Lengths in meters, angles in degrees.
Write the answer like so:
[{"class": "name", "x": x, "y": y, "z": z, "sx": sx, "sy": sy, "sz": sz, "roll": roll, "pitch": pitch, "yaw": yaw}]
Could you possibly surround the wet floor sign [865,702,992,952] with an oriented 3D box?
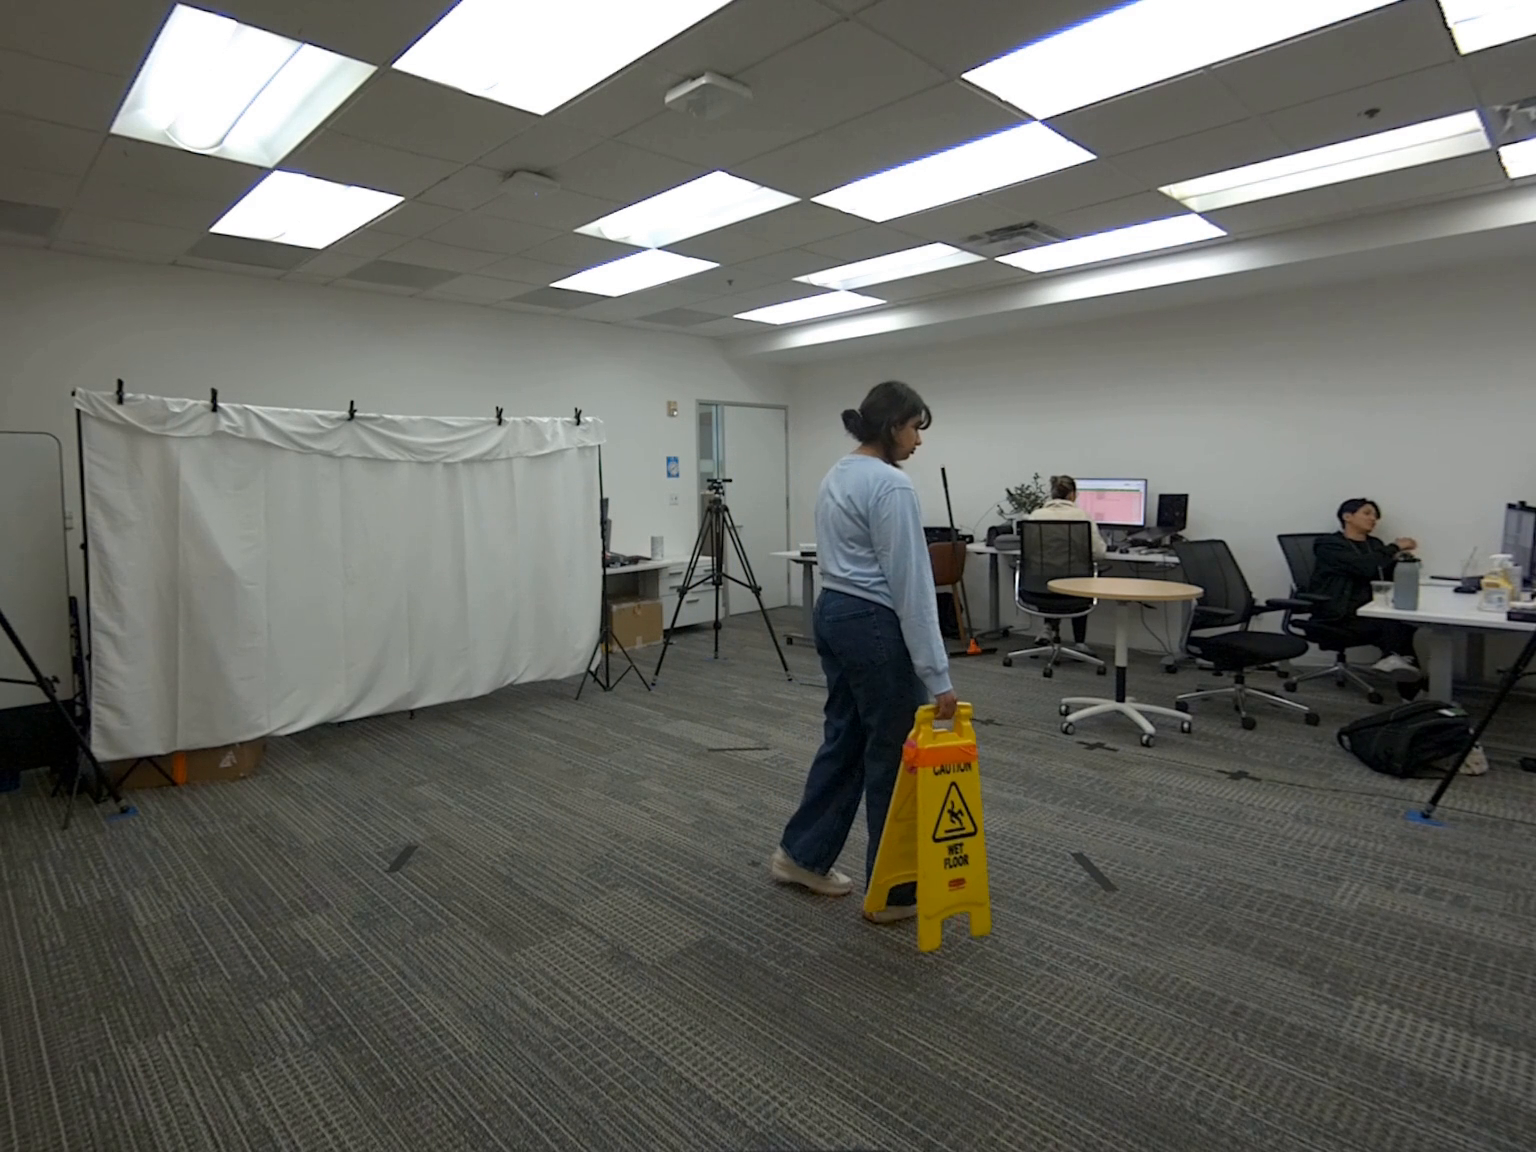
[{"class": "wet floor sign", "x": 0.493, "y": 0.698, "z": 2.493, "sx": 0.275, "sy": 0.644, "sz": 0.298, "roll": 1, "pitch": 5, "yaw": -32}]
